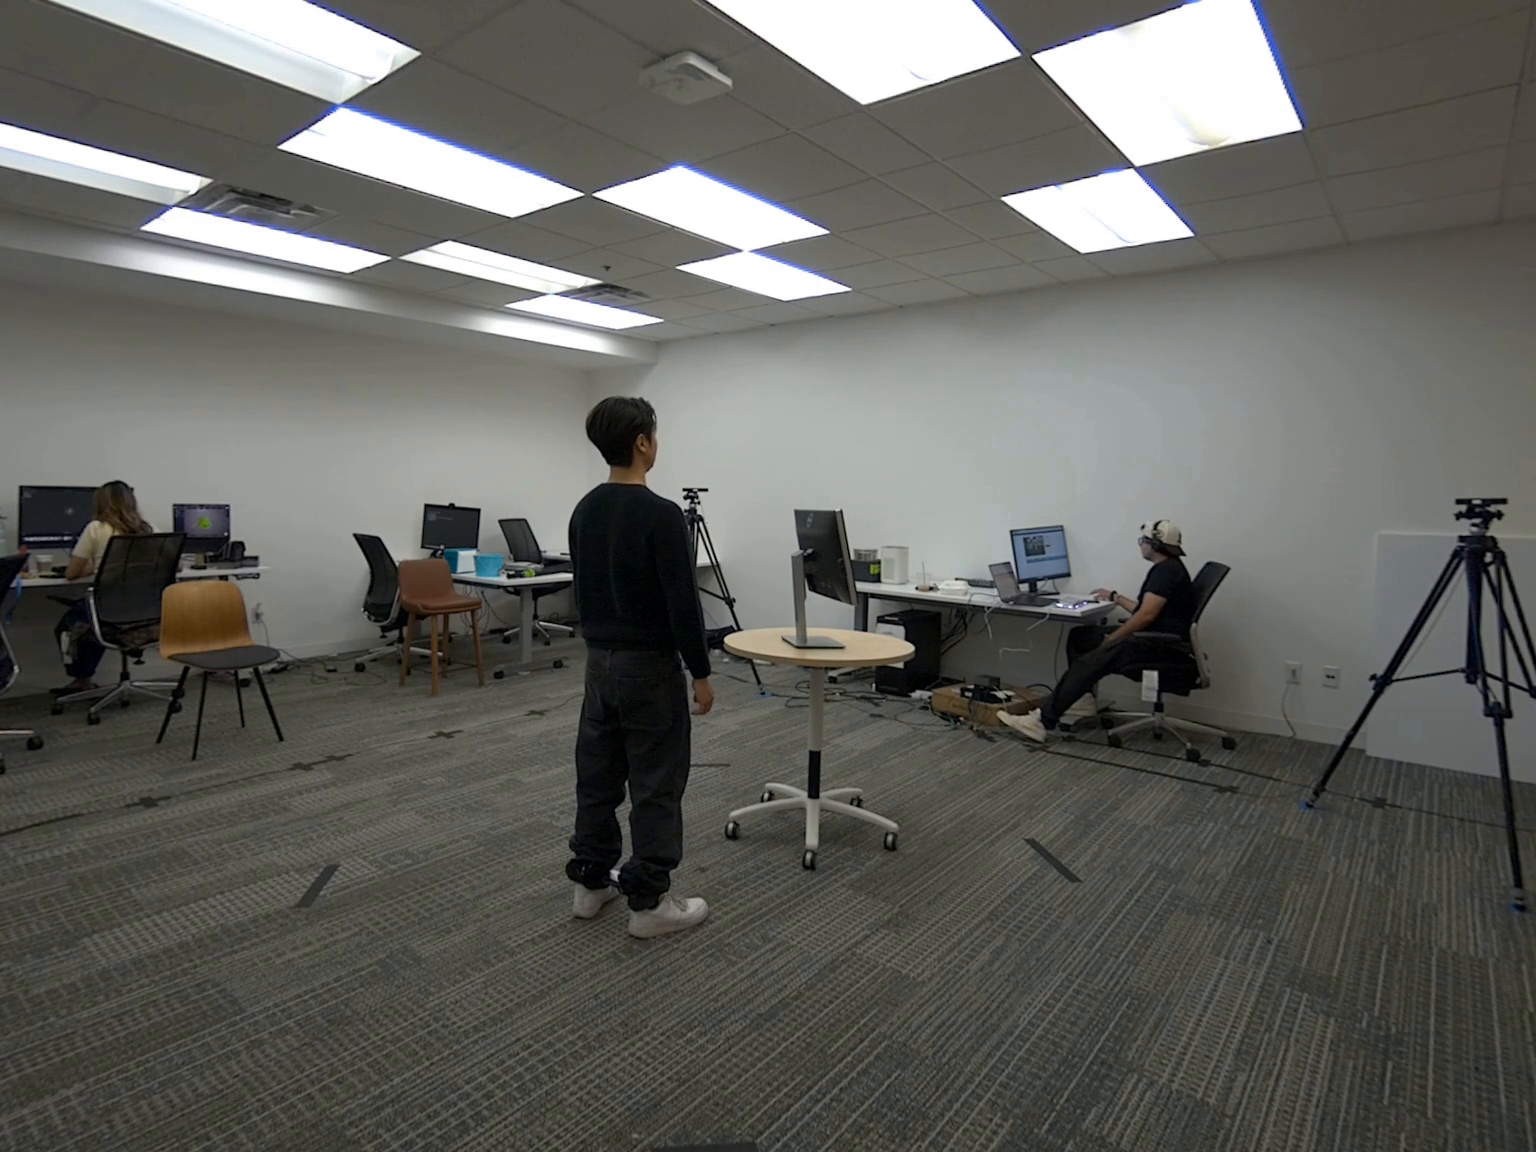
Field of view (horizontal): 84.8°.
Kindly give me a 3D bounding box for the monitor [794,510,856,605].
[{"bbox_3d":[0.180,0.001,3.401,0.172,0.515,0.539,4,3,-16],"label":"monitor"}]
